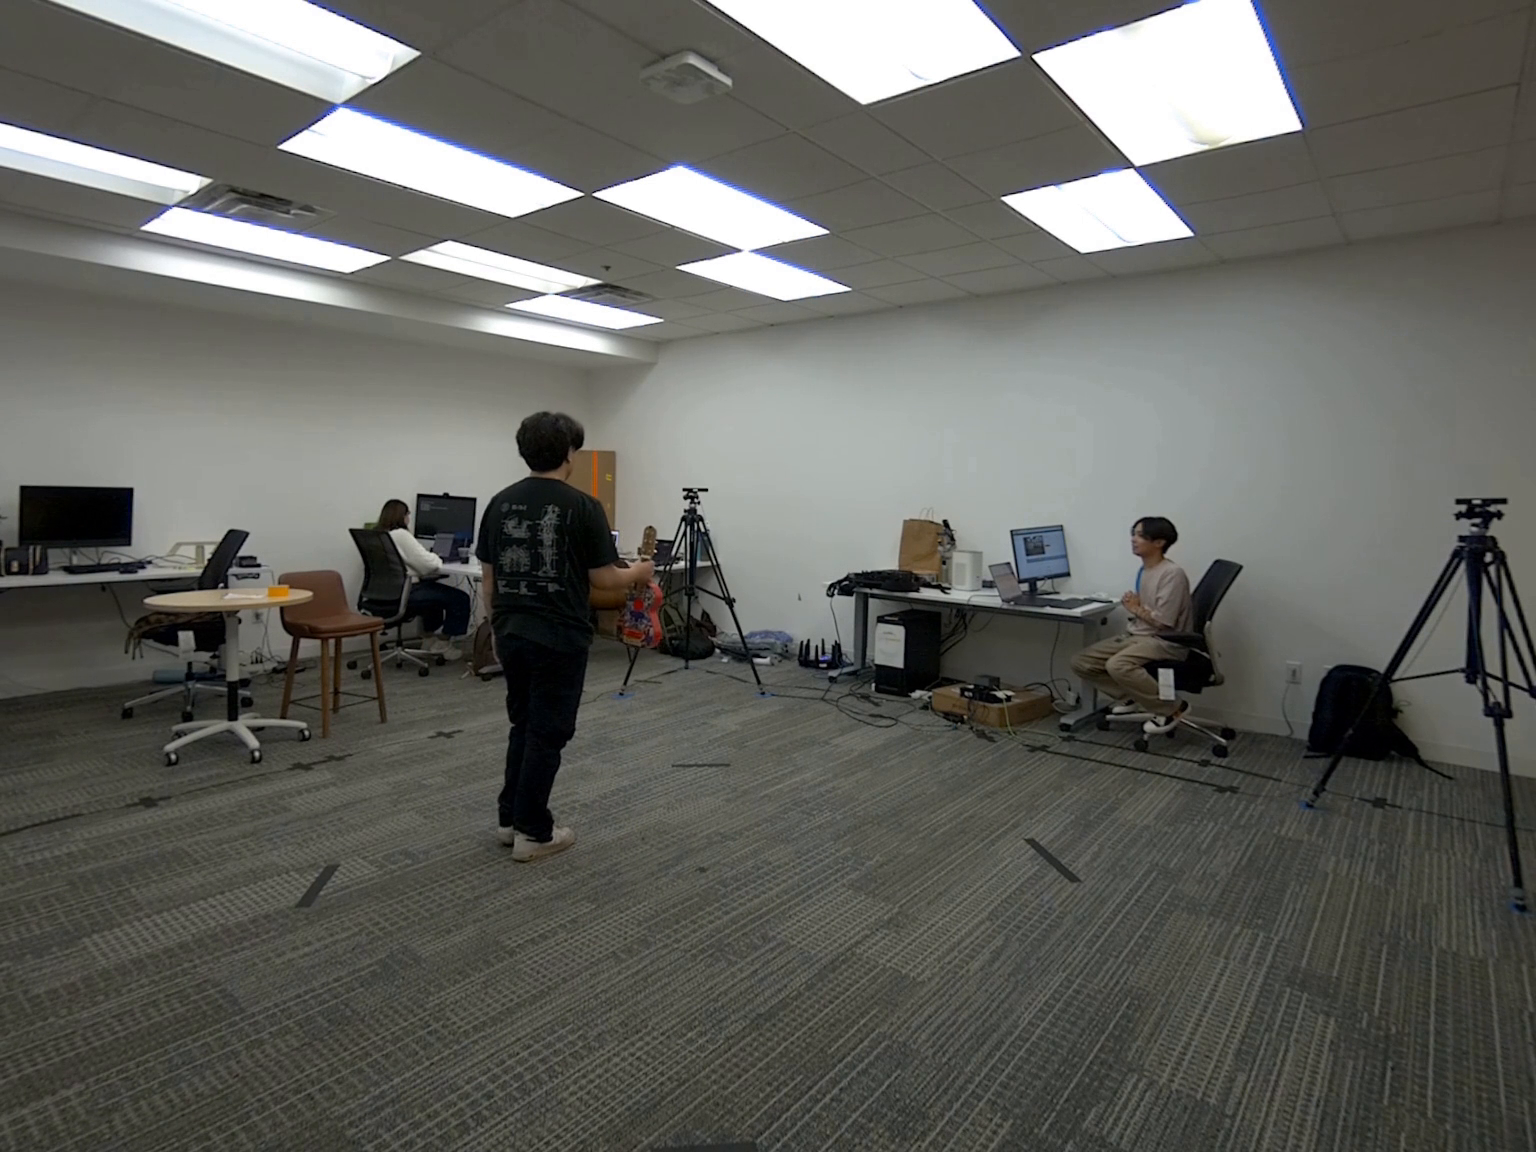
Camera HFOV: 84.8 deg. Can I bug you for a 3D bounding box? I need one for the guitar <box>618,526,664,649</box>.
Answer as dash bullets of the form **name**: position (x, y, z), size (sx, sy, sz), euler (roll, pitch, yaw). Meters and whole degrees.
- **guitar**: position (-0.501, 0.054, 3.477), size (0.199, 0.496, 0.069), euler (19, 5, 24)
